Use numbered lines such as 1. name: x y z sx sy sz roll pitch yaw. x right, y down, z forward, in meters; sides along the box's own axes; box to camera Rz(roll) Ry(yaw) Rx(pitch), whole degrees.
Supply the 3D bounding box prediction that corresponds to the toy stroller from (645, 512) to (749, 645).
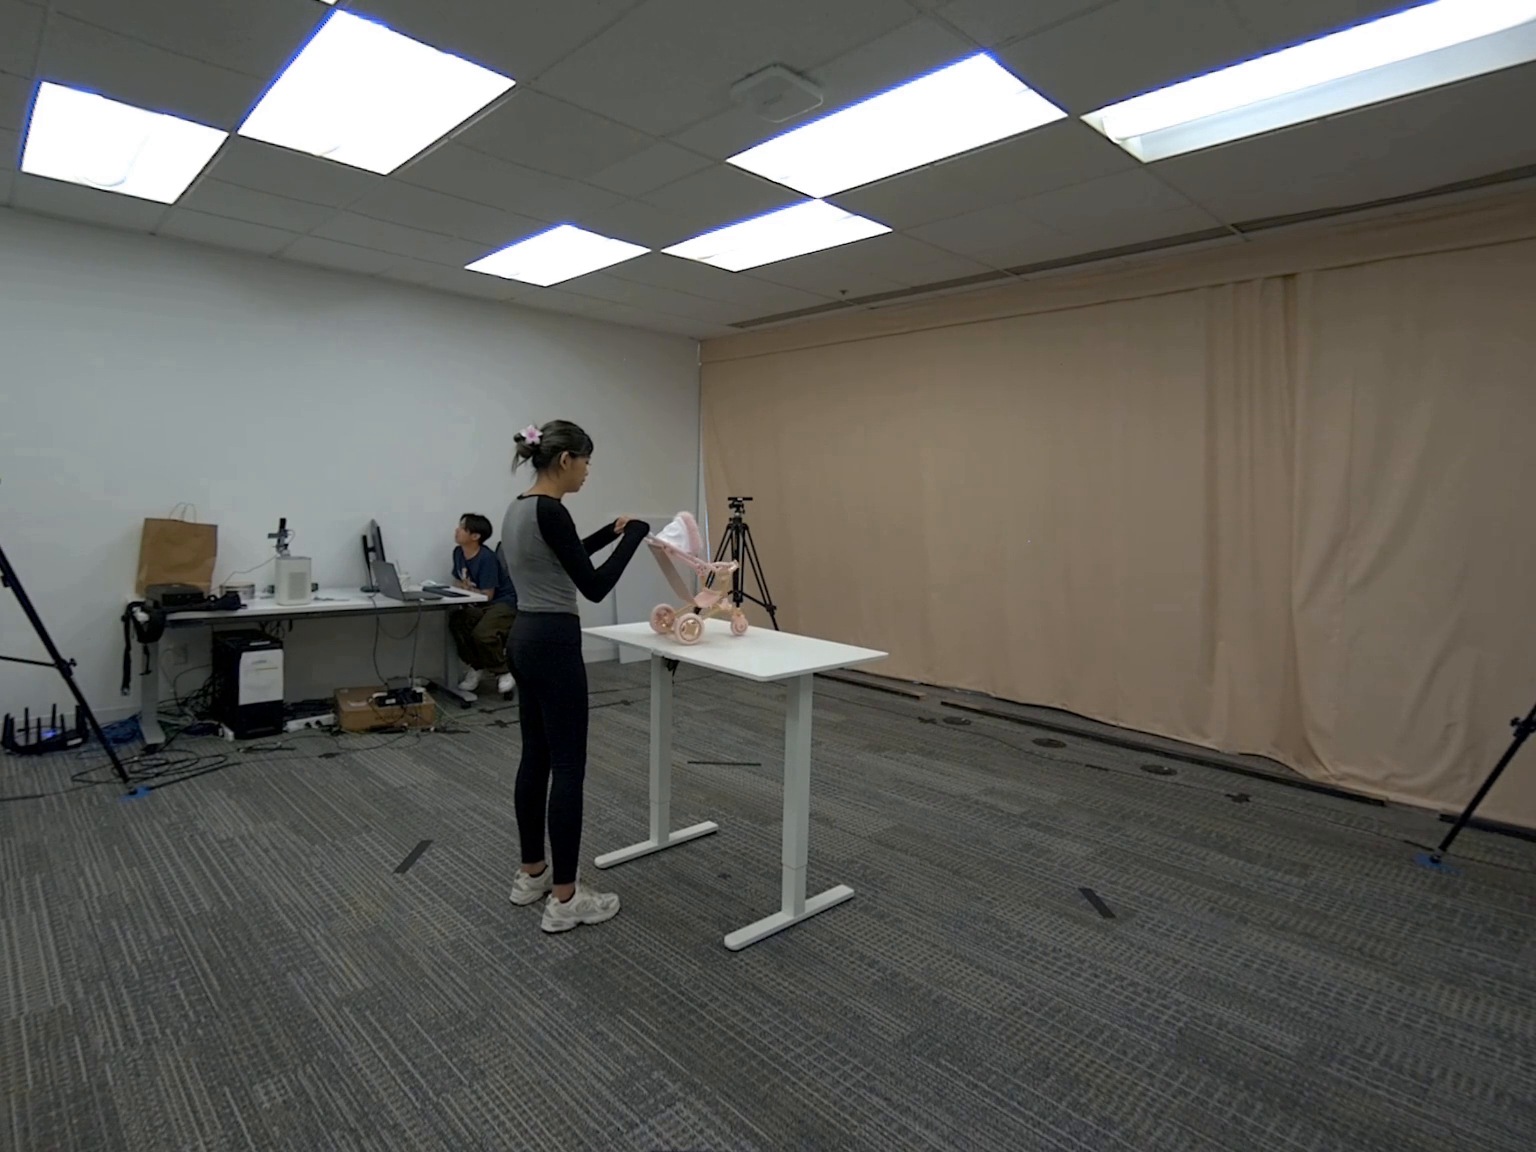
1. toy stroller: -0.283 0.006 3.033 0.338 0.530 0.287 -18 11 -21
